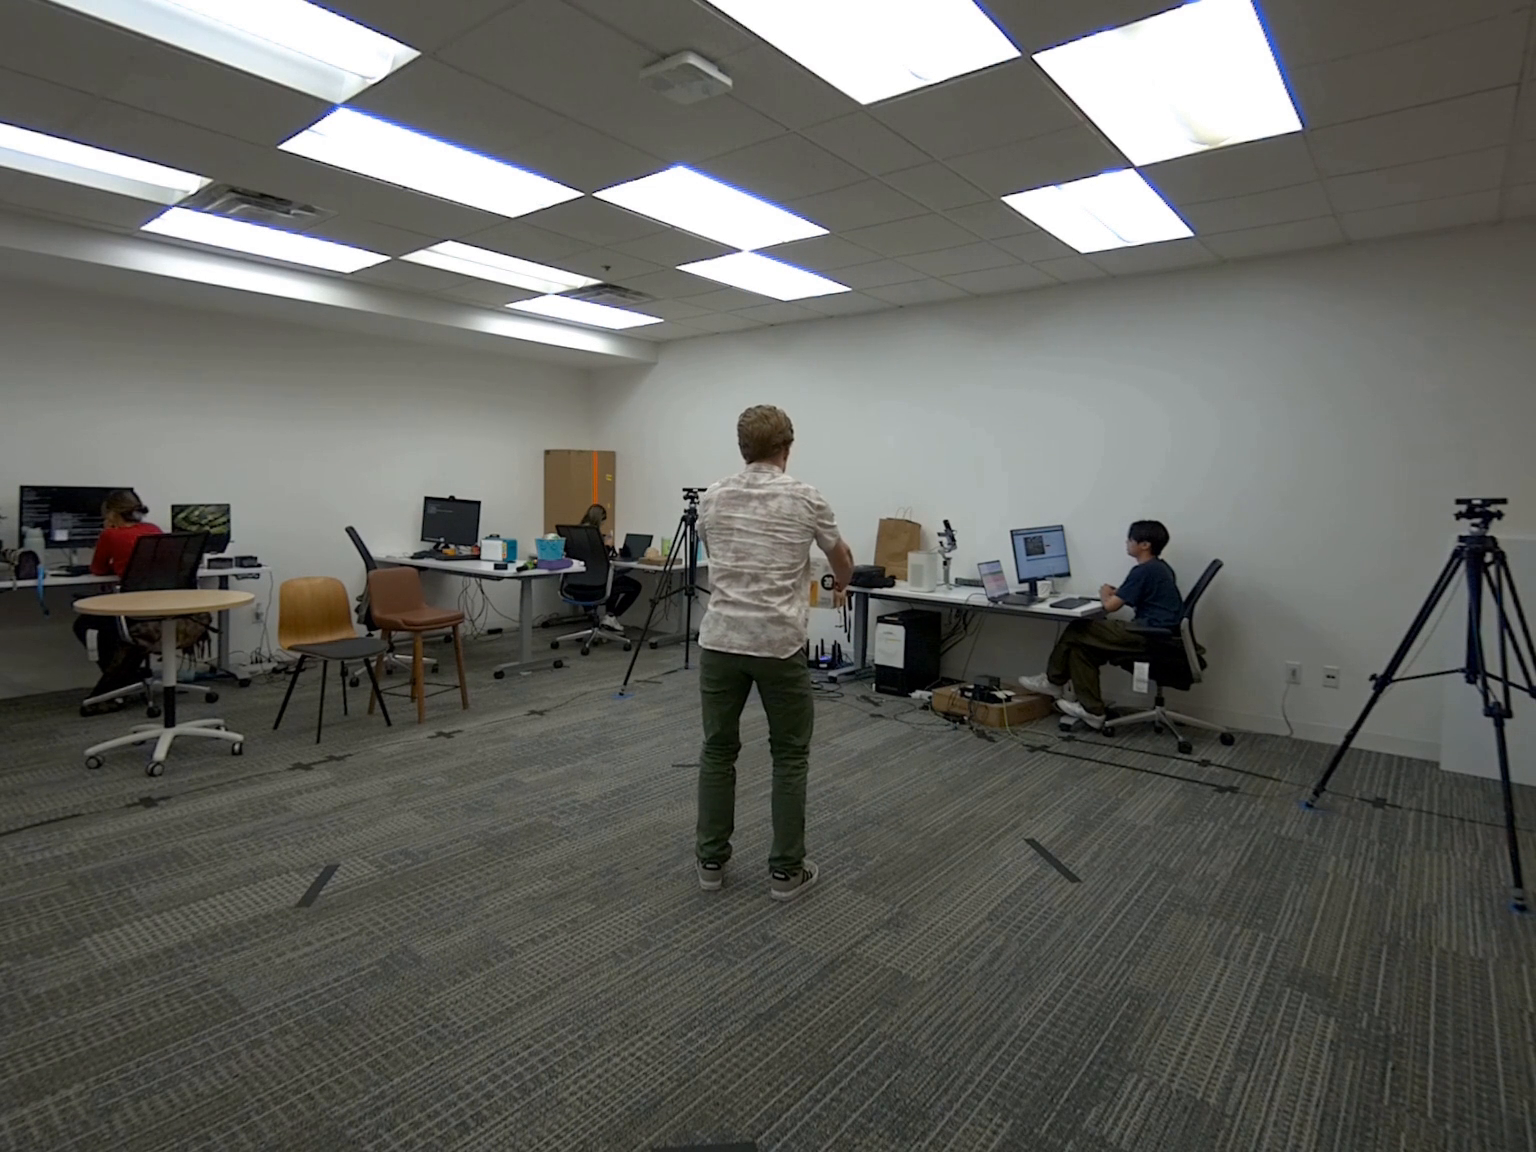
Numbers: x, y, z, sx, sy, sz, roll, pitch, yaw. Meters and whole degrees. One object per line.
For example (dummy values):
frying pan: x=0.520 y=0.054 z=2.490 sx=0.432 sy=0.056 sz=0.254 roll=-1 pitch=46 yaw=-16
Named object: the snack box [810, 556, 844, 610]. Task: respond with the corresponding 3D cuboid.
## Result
snack box: x=0.100 y=0.013 z=3.588 sx=0.412 sy=0.206 sz=0.335 roll=4 pitch=1 yaw=14
